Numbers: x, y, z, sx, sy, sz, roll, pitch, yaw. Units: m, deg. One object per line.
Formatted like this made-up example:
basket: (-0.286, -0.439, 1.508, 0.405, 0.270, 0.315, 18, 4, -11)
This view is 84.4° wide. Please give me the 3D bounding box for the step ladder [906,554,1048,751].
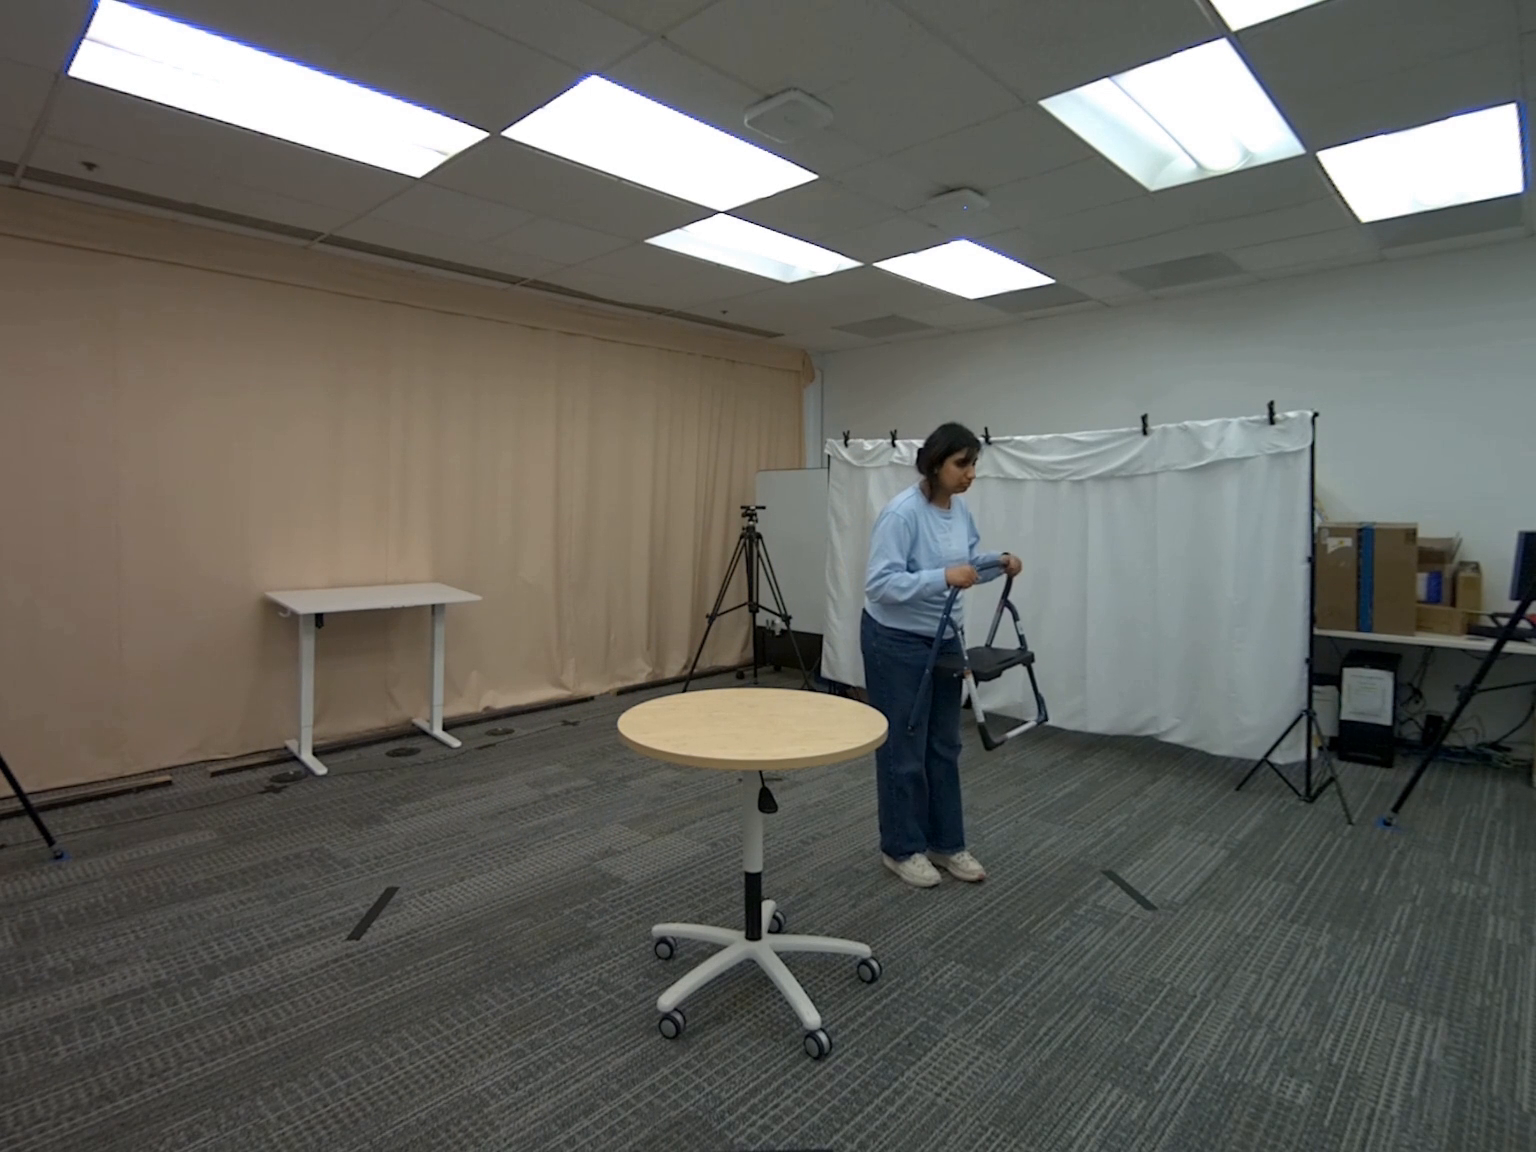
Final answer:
step ladder: (0.750, 0.258, 3.014, 0.361, 0.604, 0.418, 2, 8, 44)
